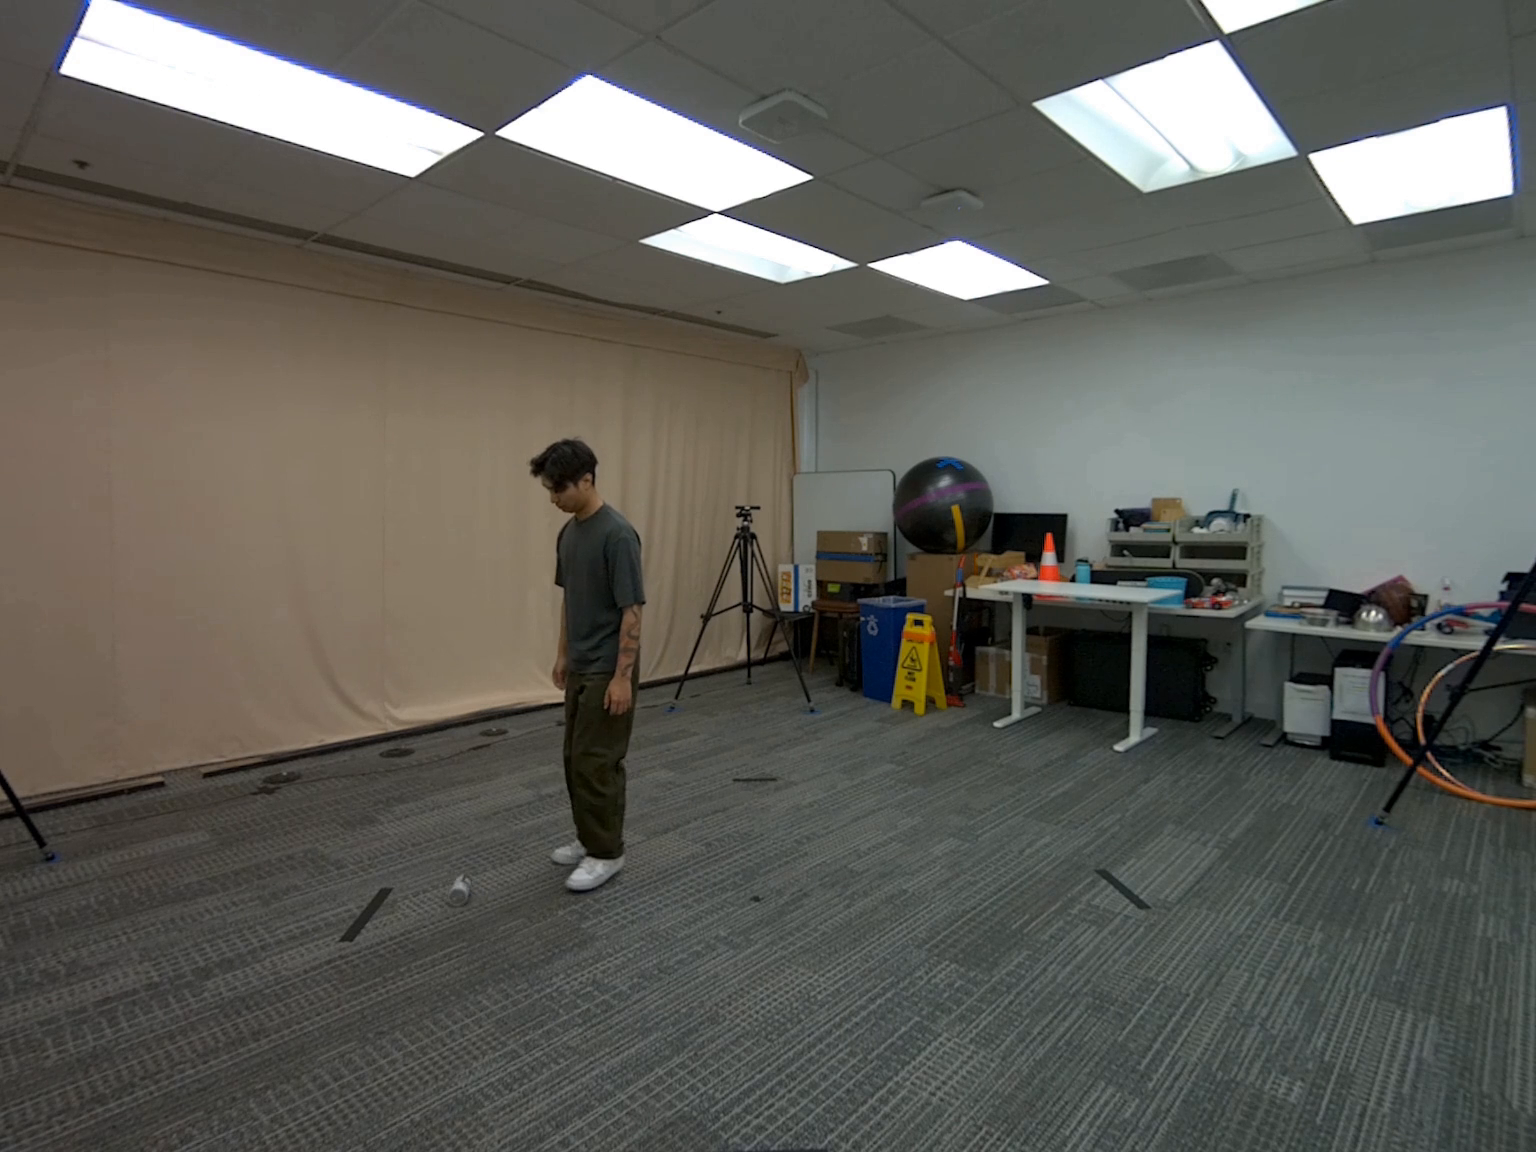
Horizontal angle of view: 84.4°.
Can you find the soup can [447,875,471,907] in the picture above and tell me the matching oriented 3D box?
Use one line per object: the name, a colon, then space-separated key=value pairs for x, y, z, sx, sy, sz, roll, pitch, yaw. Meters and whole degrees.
soup can: x=-1.097 y=1.116 z=2.995 sx=0.066 sy=0.067 sz=0.123 roll=-1 pitch=4 yaw=-12
